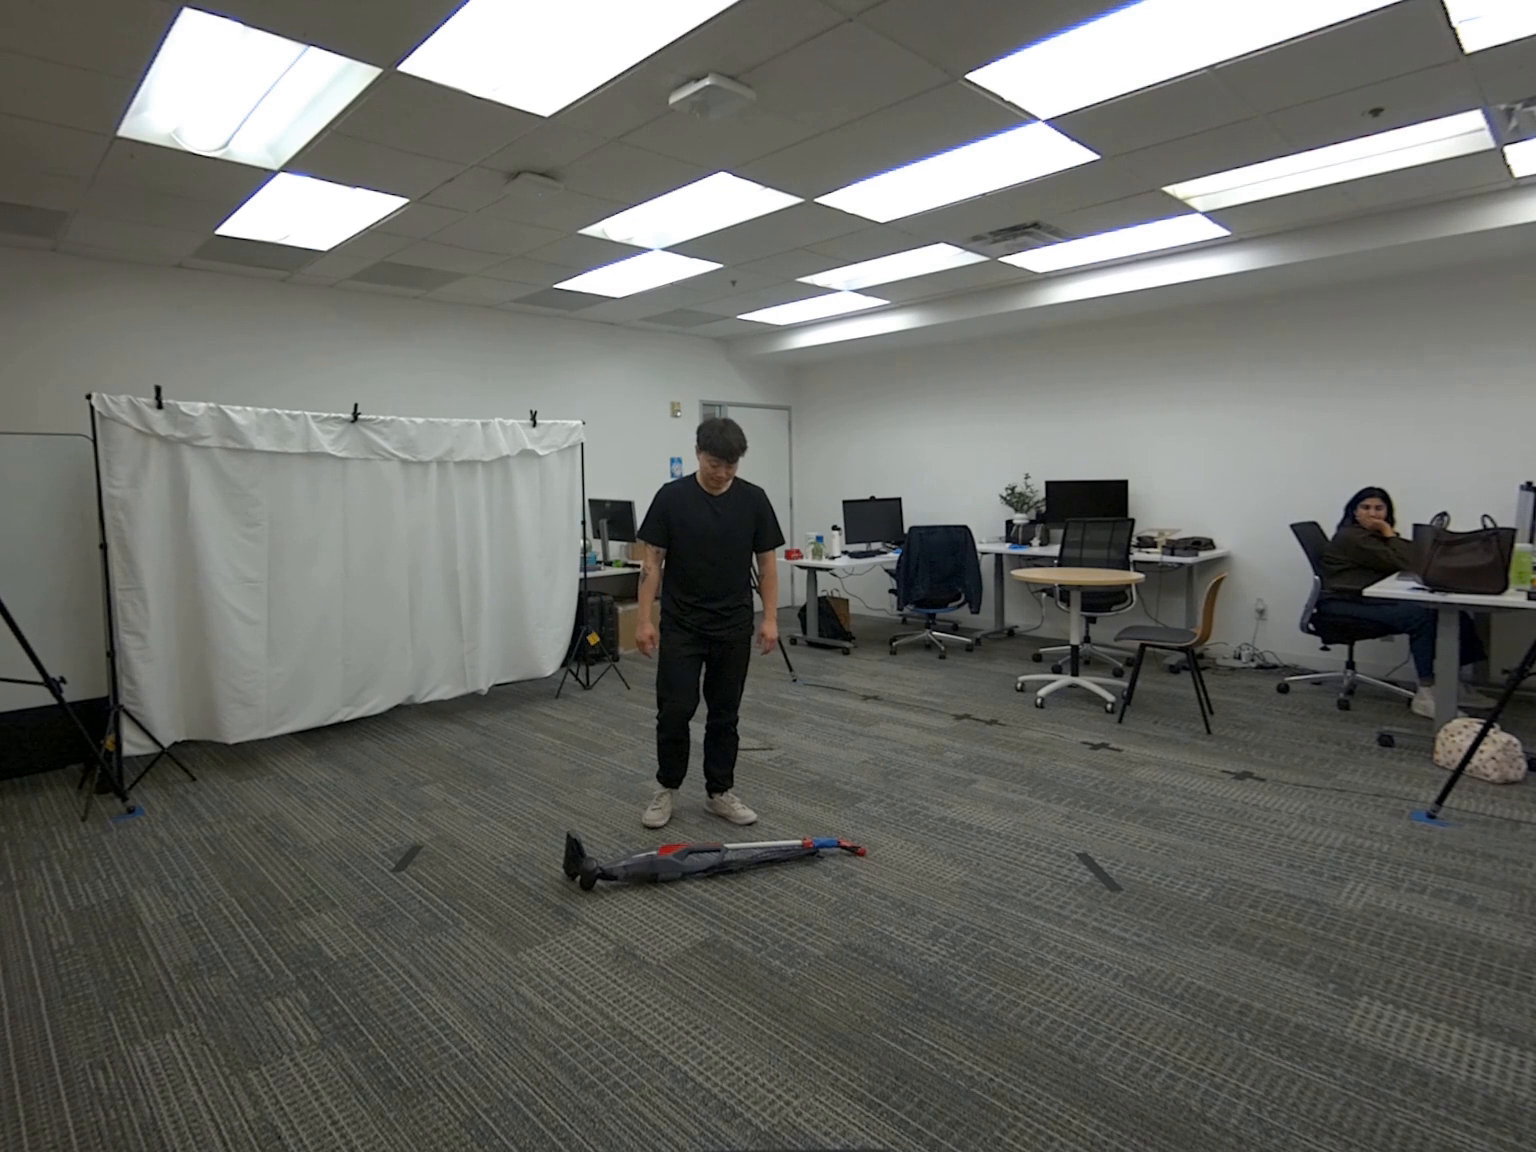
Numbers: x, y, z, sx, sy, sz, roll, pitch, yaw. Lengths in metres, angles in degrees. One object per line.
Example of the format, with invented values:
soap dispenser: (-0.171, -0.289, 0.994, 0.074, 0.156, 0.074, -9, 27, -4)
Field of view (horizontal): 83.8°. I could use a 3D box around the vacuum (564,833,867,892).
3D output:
vacuum: (-0.157, 1.007, 3.045, 1.036, 0.247, 0.149, 2, 40, -12)
